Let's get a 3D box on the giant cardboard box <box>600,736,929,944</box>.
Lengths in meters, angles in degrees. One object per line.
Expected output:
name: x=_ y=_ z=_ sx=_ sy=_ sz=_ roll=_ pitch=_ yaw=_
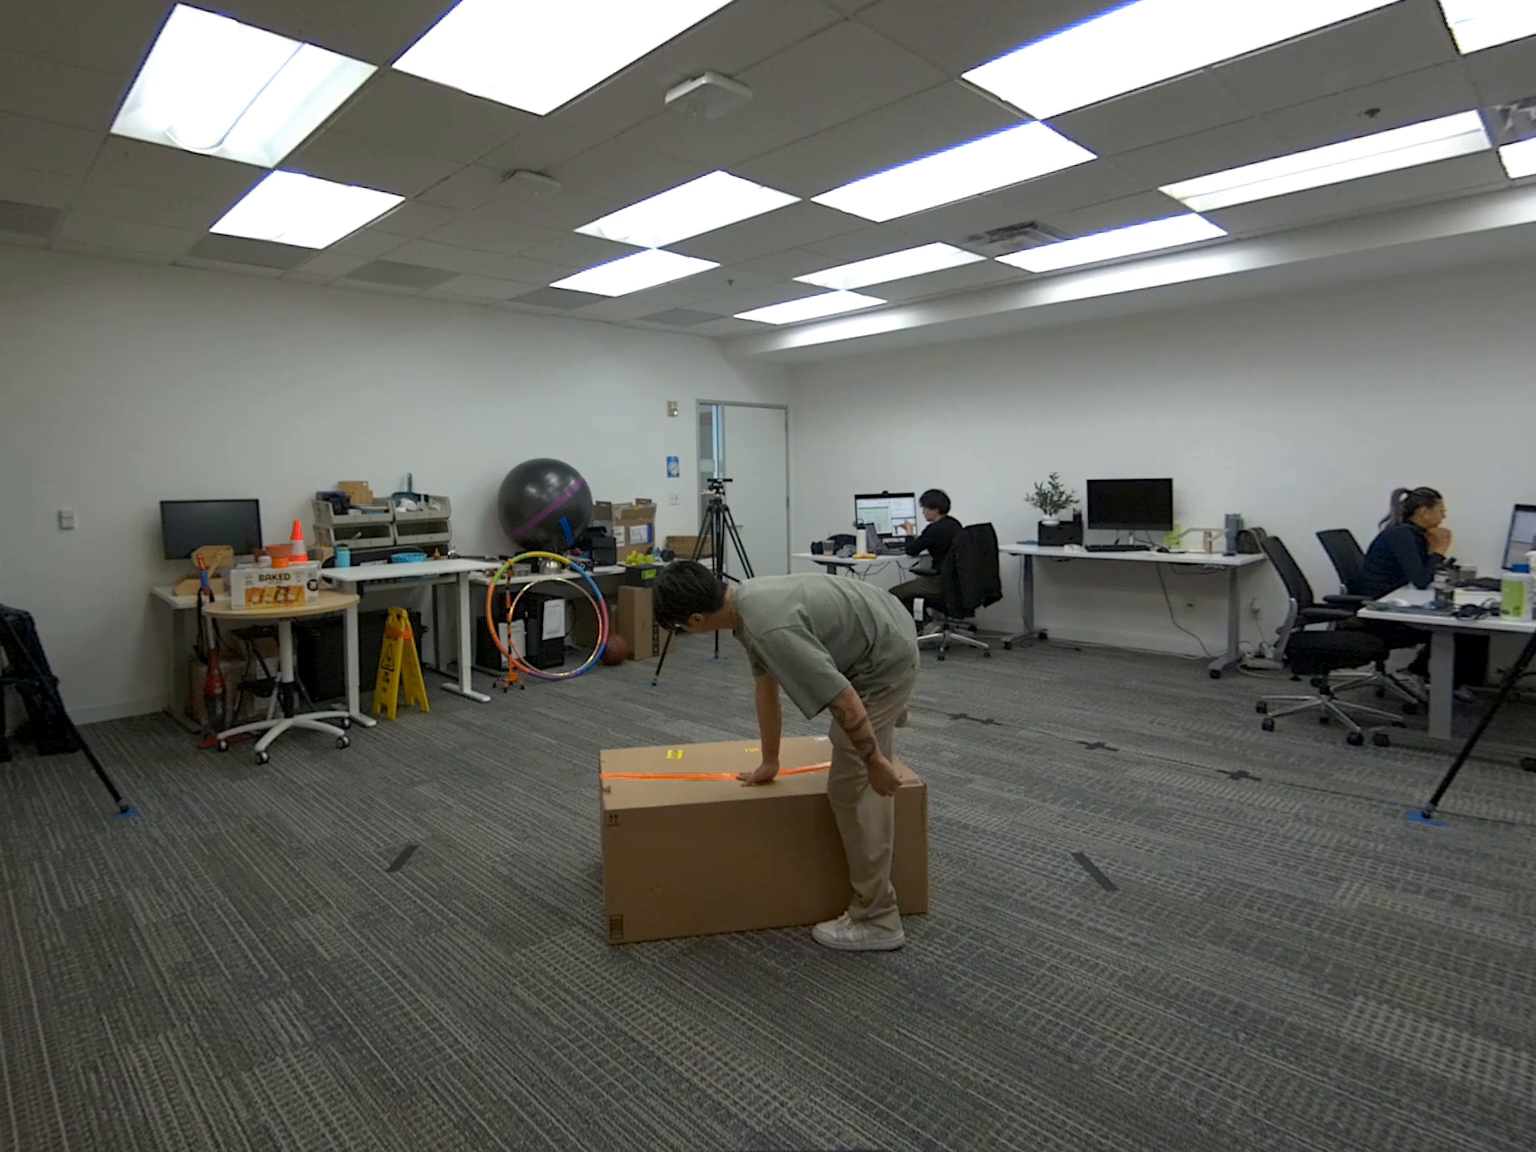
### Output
giant cardboard box: x=-0.051 y=0.859 z=2.915 sx=1.017 sy=0.424 sz=0.585 roll=-2 pitch=5 yaw=-10
